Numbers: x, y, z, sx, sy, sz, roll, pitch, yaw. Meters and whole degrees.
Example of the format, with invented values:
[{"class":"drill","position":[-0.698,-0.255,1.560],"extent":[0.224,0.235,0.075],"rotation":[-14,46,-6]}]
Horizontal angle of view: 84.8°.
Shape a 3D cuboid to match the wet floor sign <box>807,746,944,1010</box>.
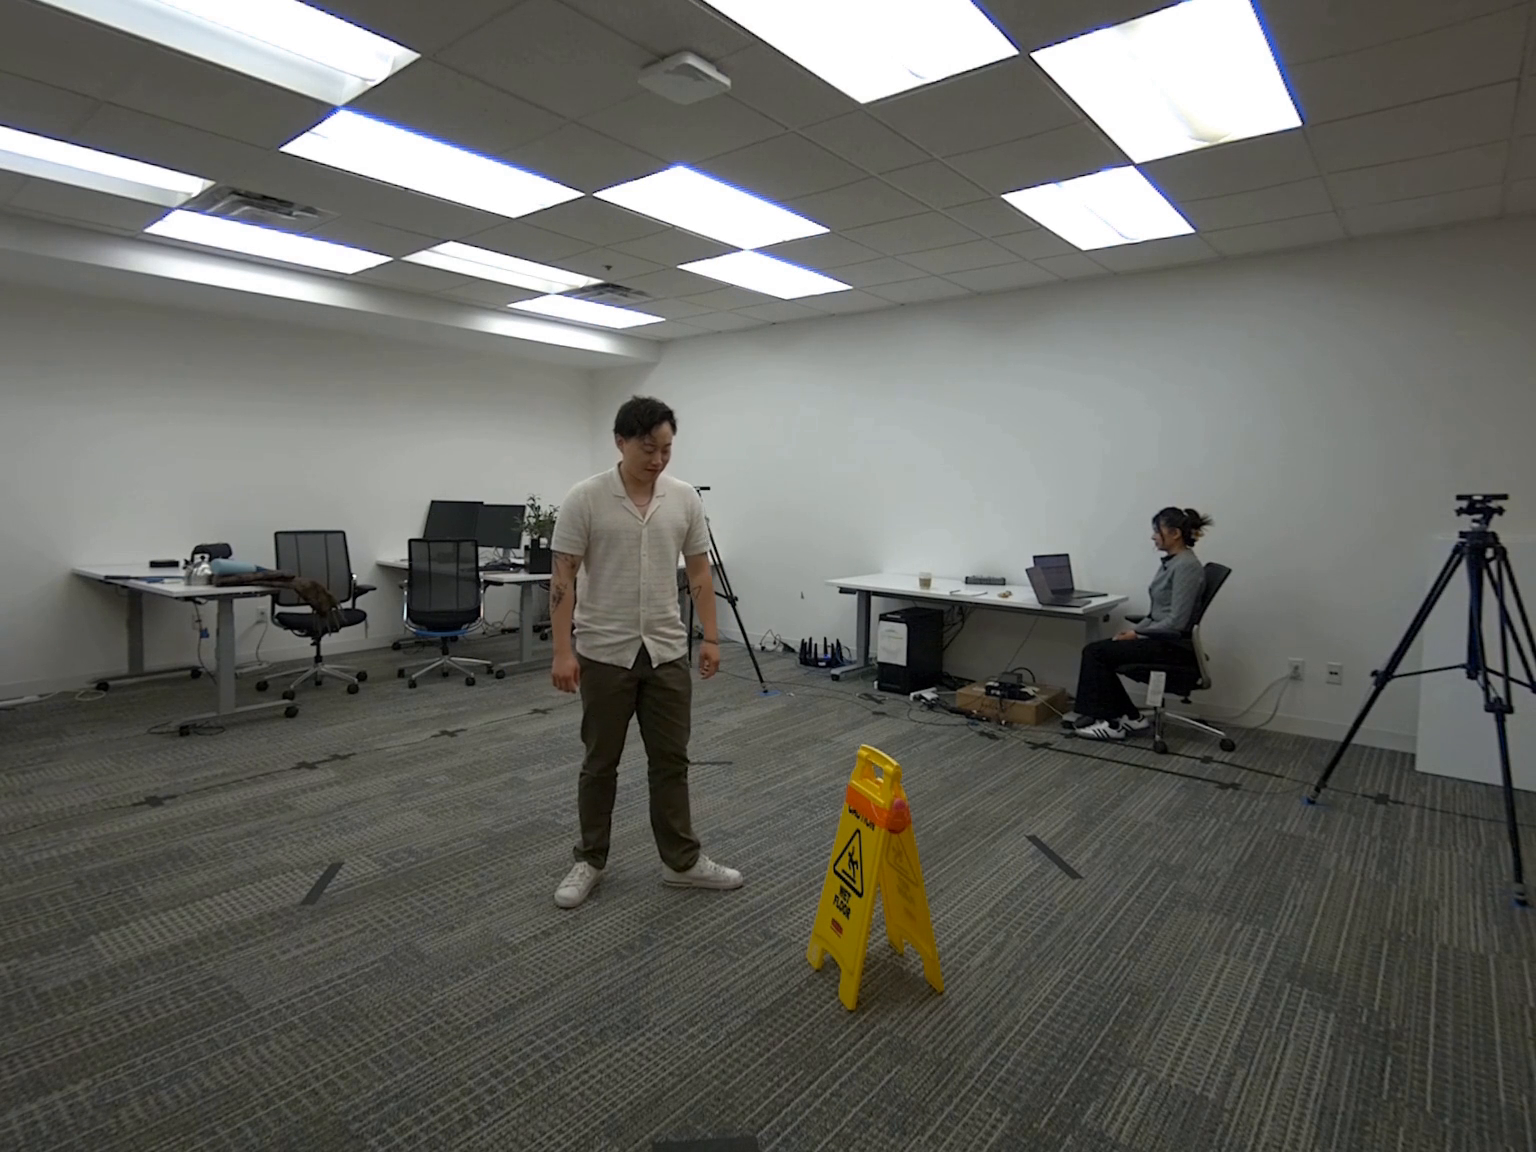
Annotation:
[{"class":"wet floor sign","position":[0.303,0.818,2.422],"extent":[0.284,0.644,0.289],"rotation":[0,4,-21]}]
